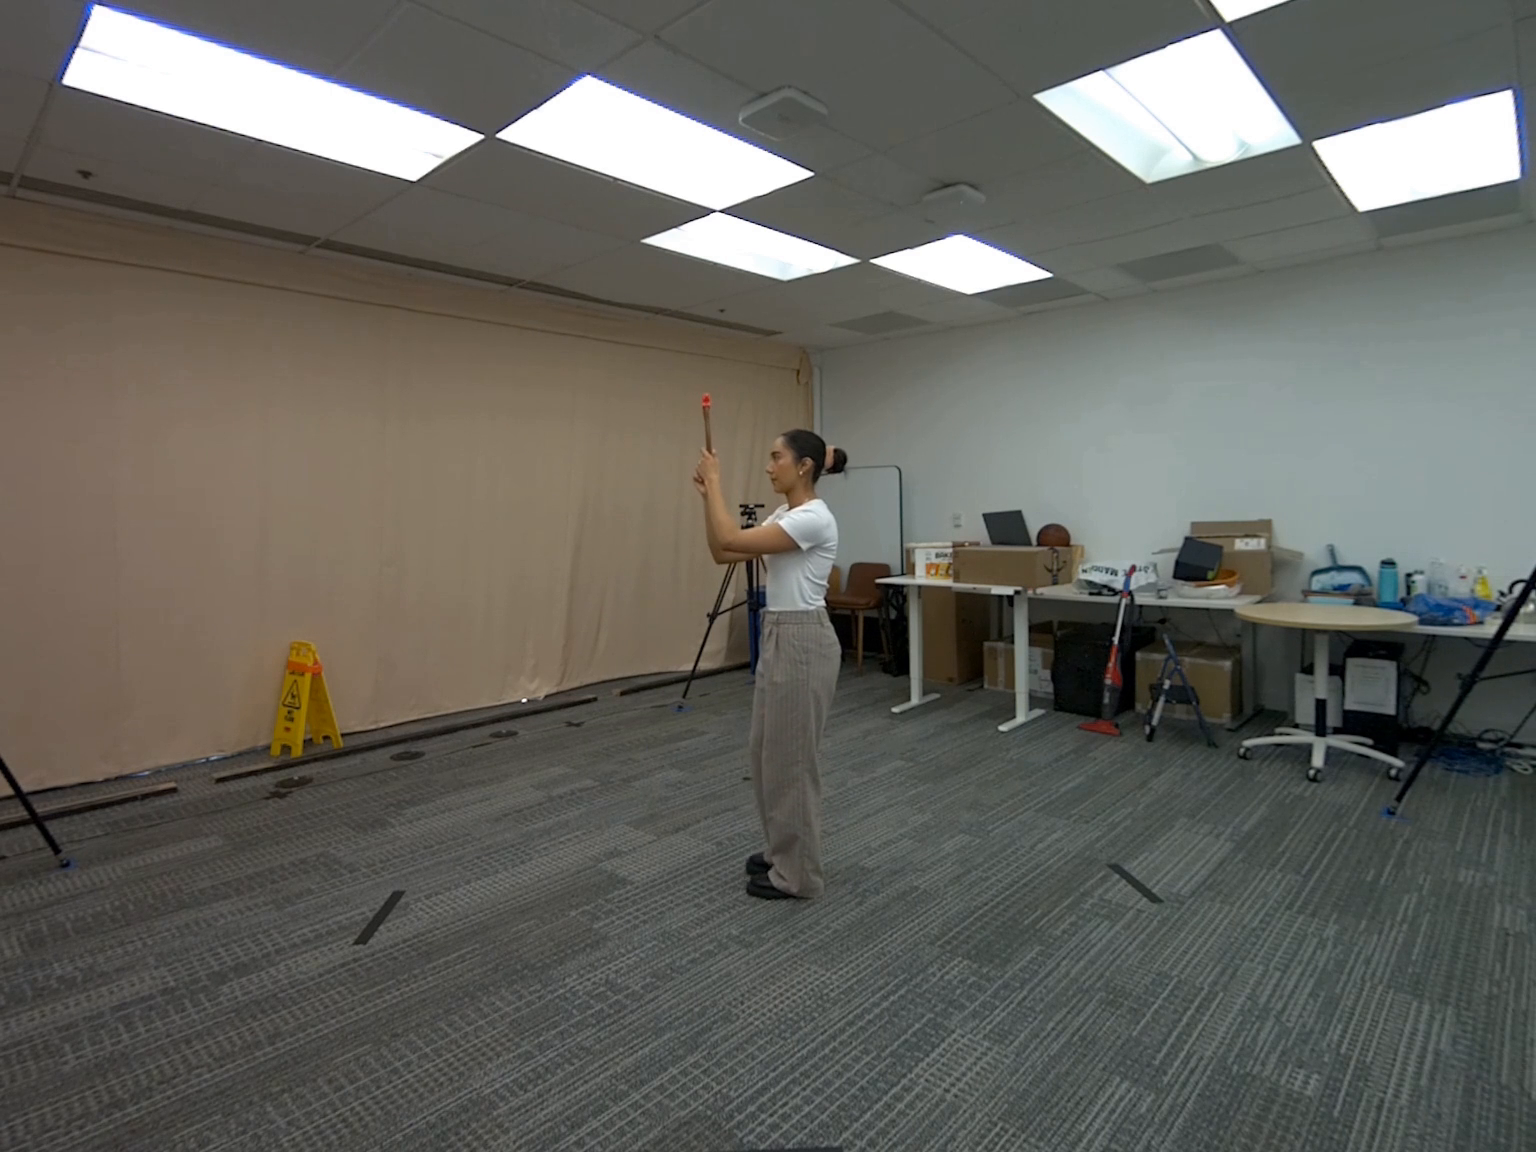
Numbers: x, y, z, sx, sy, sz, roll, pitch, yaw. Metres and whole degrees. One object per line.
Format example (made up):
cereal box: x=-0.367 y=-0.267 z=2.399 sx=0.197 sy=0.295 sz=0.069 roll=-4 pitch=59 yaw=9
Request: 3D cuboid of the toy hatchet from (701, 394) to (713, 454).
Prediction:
toy hatchet: x=-0.207 y=-0.516 z=2.990 sx=0.029 sy=0.268 sz=0.133 roll=-7 pitch=8 yaw=-8
